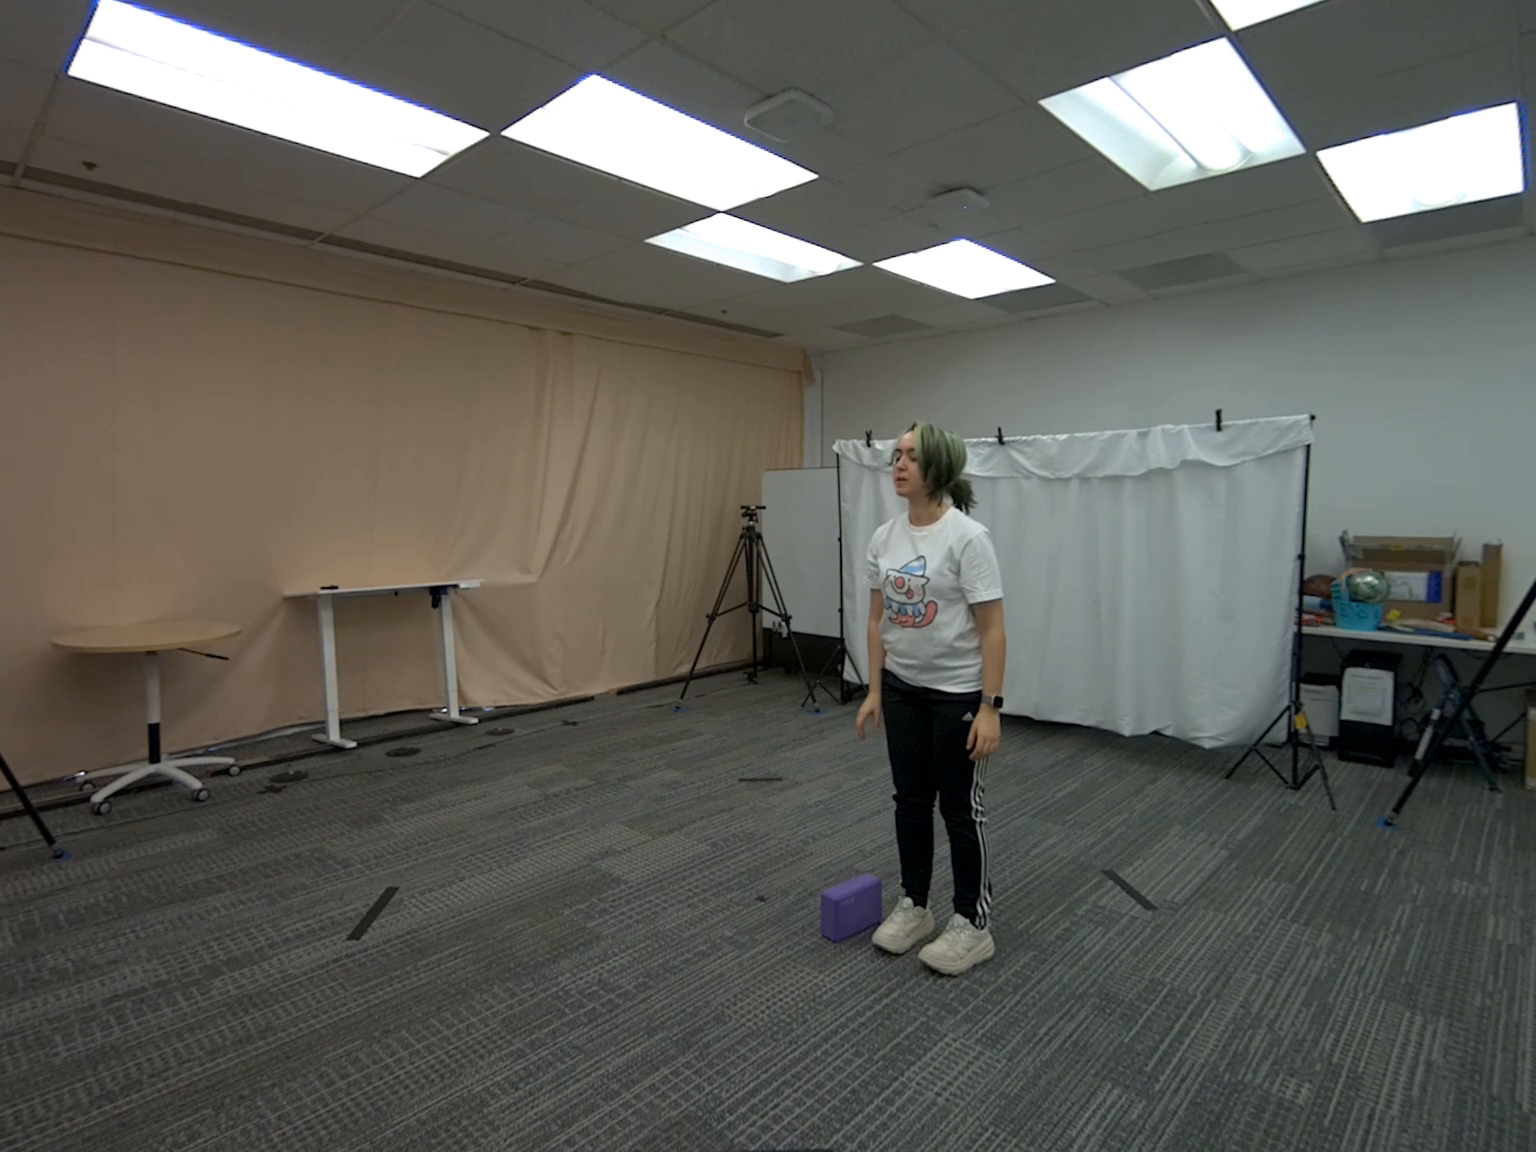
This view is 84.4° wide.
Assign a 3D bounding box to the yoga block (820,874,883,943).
[{"bbox_3d":[0.281,1.084,2.763,0.222,0.149,0.079,-3,4,-39],"label":"yoga block"}]
